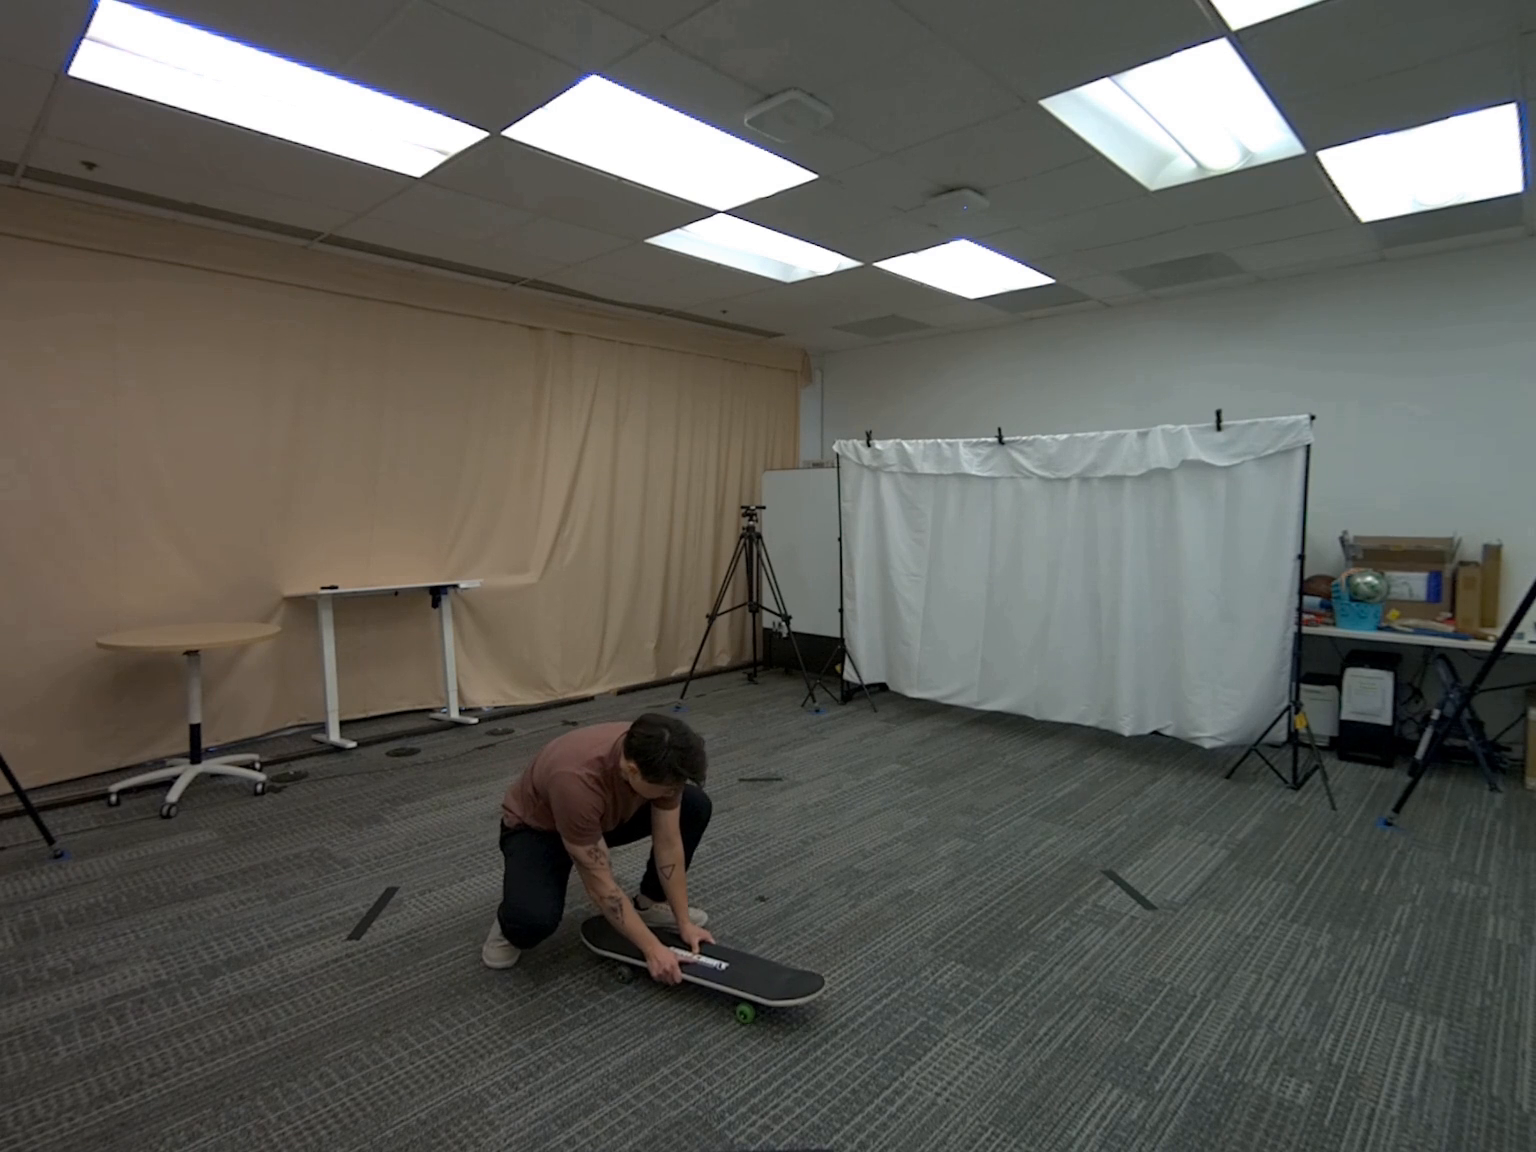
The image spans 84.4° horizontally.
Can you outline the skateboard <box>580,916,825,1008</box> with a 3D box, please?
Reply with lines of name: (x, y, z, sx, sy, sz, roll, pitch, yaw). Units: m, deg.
skateboard: (-0.200, 1.136, 2.426, 0.806, 0.110, 0.189, 1, 3, 26)
